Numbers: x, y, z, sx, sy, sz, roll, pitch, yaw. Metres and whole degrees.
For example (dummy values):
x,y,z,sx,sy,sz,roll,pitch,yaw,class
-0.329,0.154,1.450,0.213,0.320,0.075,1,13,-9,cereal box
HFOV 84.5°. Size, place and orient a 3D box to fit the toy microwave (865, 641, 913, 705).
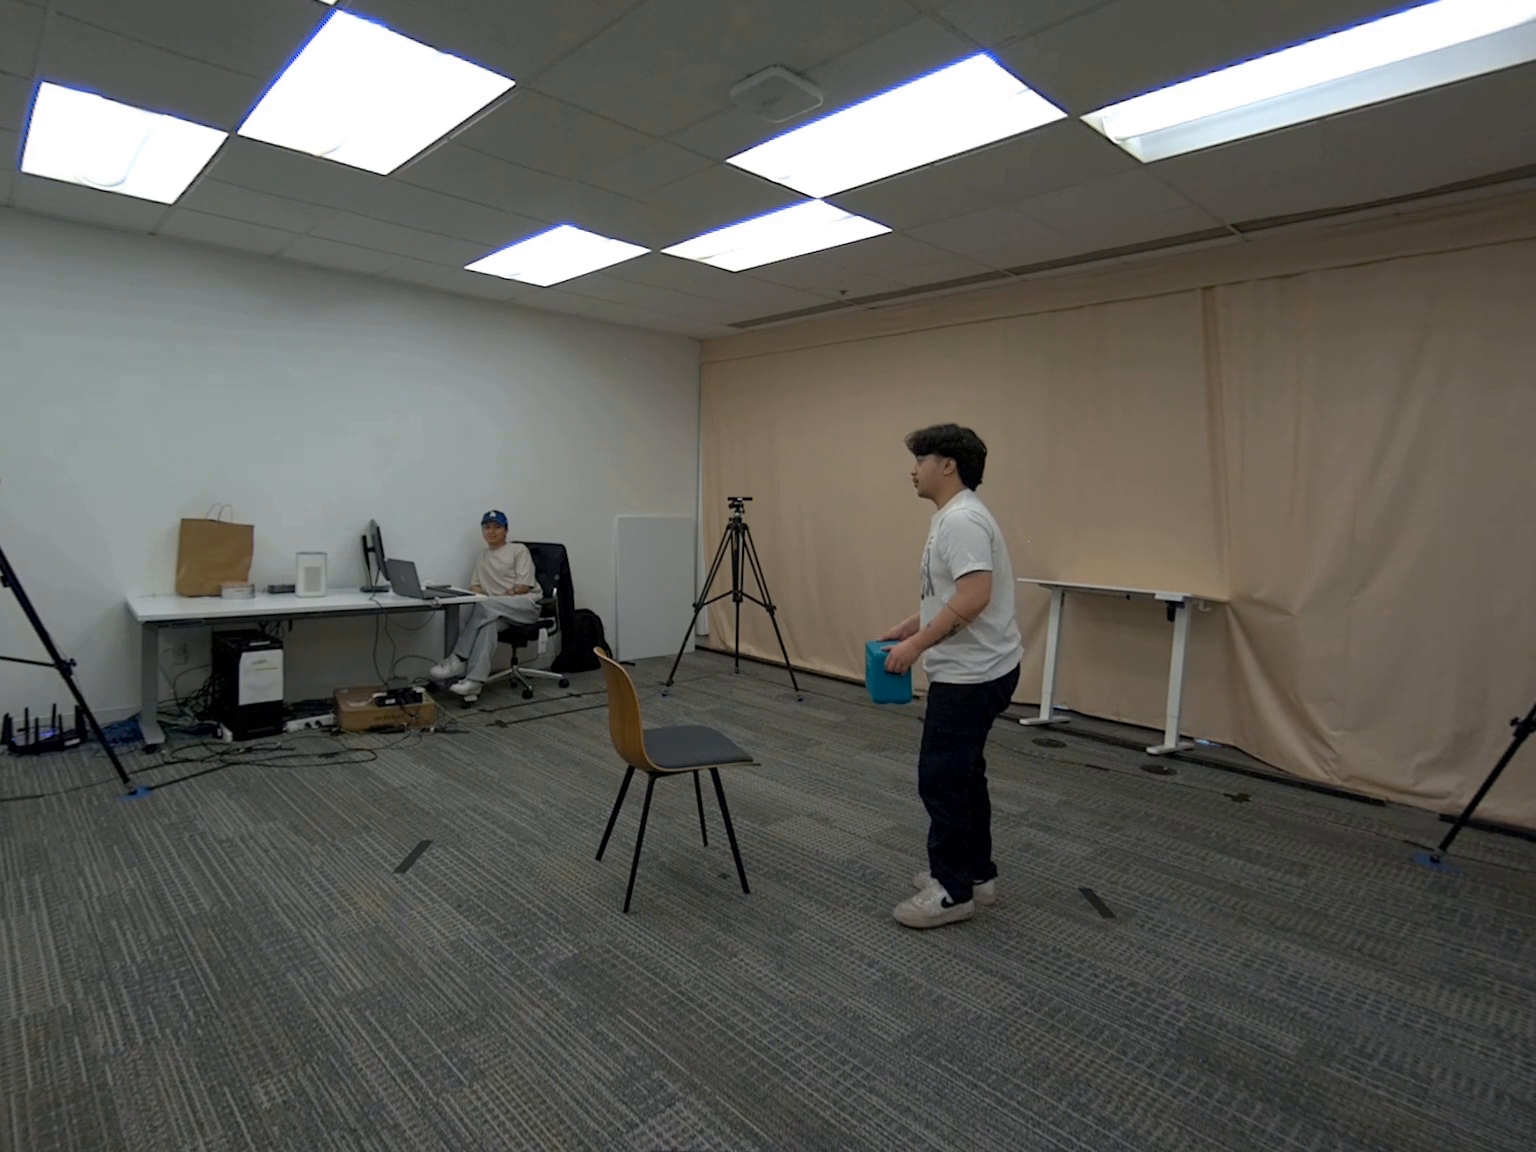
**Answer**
x,y,z,sx,sy,sz,roll,pitch,yaw,class
0.429,0.341,2.949,0.153,0.184,0.285,-1,3,5,toy microwave
